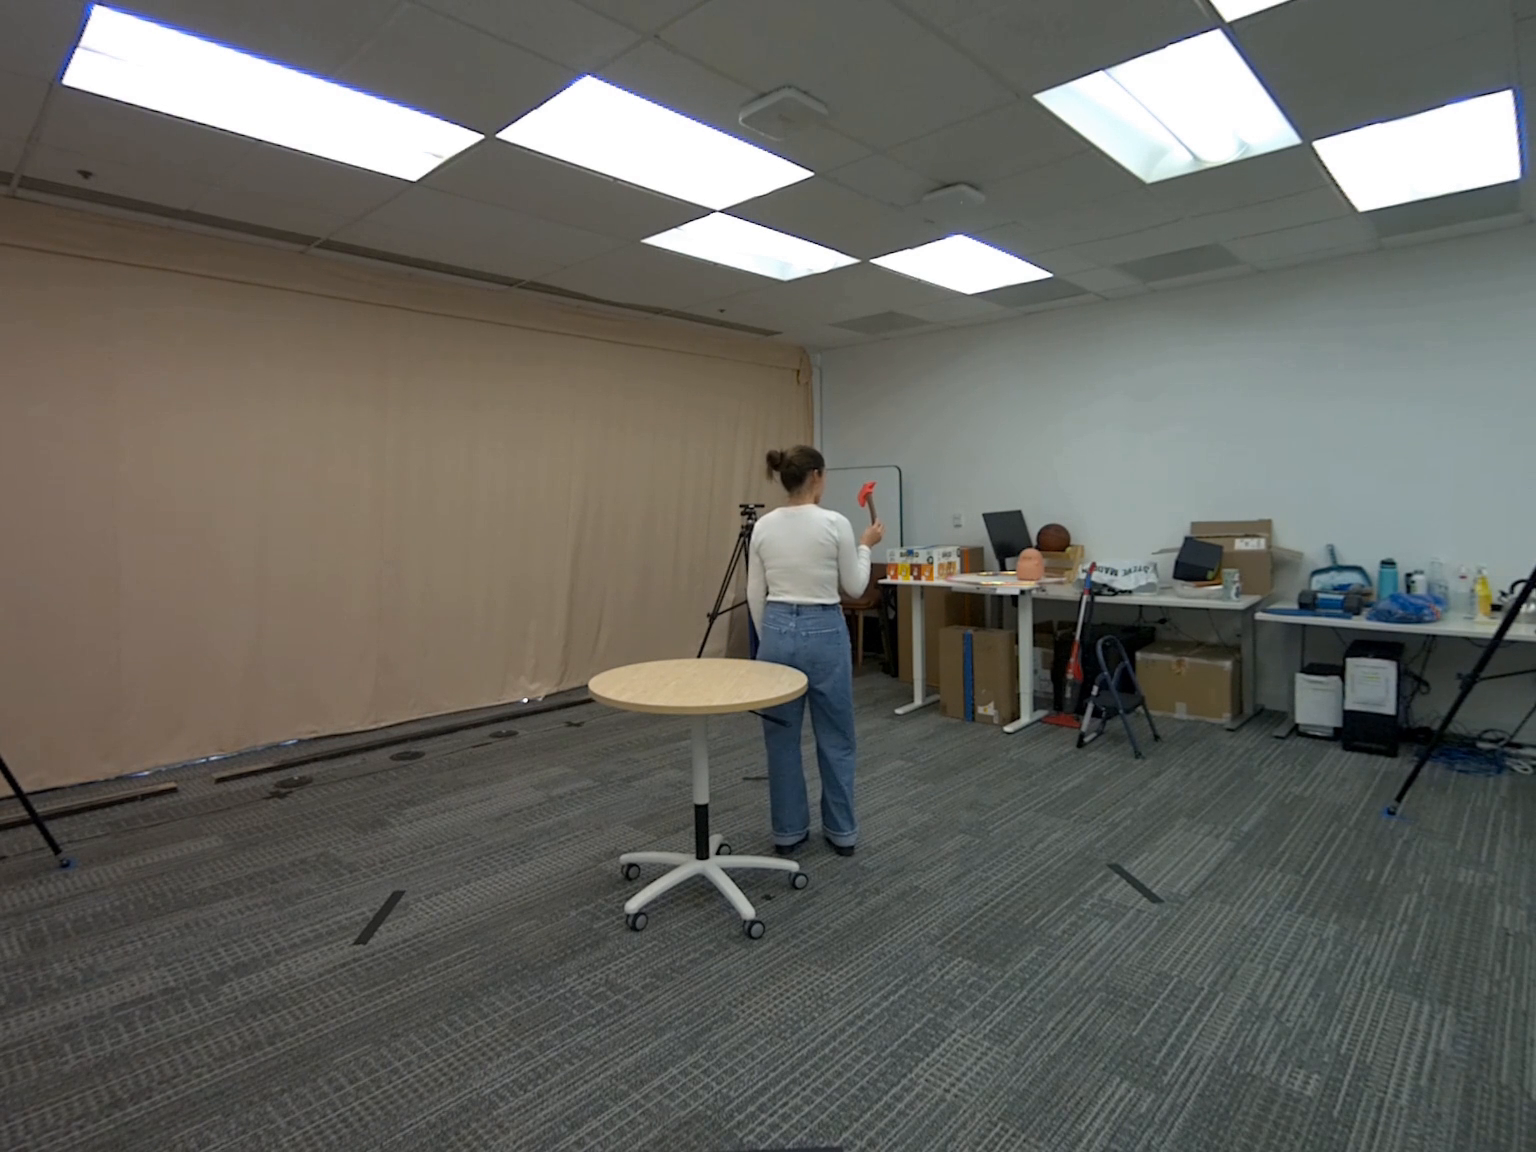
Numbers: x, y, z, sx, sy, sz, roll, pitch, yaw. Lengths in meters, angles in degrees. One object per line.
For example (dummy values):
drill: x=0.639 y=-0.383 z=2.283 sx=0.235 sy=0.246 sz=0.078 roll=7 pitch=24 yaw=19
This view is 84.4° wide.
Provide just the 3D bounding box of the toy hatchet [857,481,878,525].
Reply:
toy hatchet: x=0.426 y=-0.261 z=3.535 sx=0.029 sy=0.272 sz=0.133 roll=5 pitch=-14 yaw=-28
